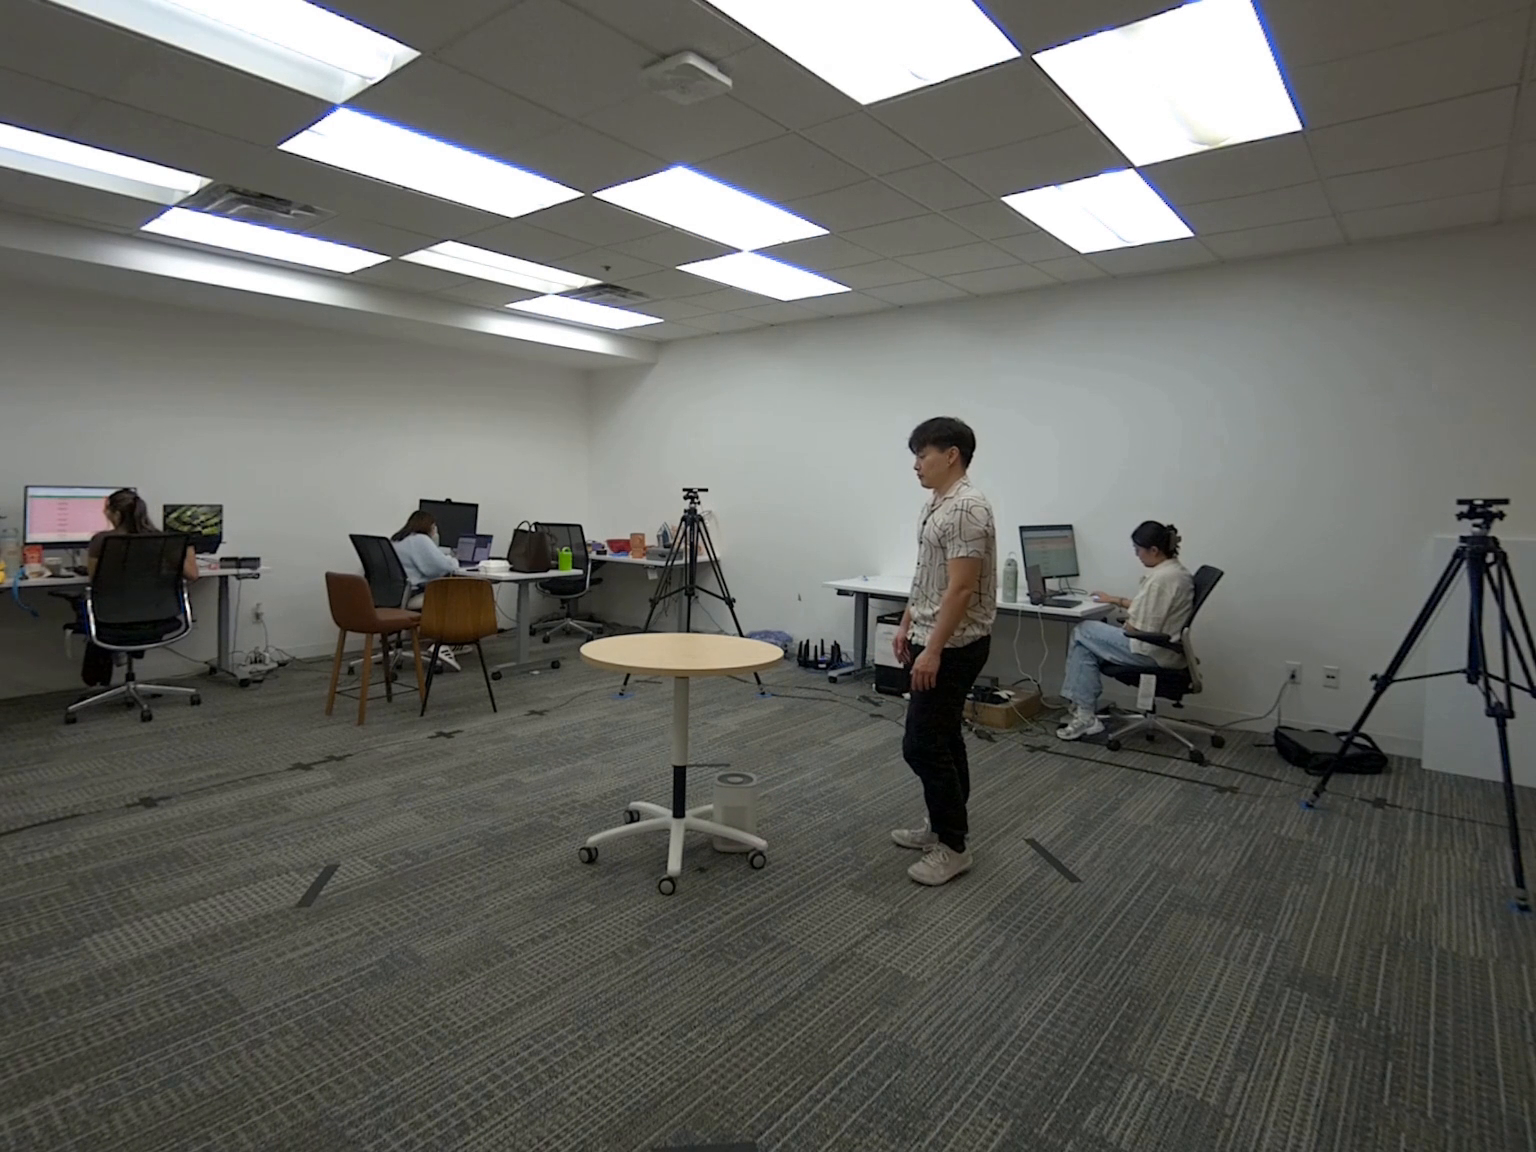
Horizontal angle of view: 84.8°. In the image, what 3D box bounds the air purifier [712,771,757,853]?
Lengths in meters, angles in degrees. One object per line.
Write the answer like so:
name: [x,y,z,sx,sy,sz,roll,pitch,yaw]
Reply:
air purifier: [-0.136,0.918,3.324,0.171,0.264,0.172,0,4,-4]
